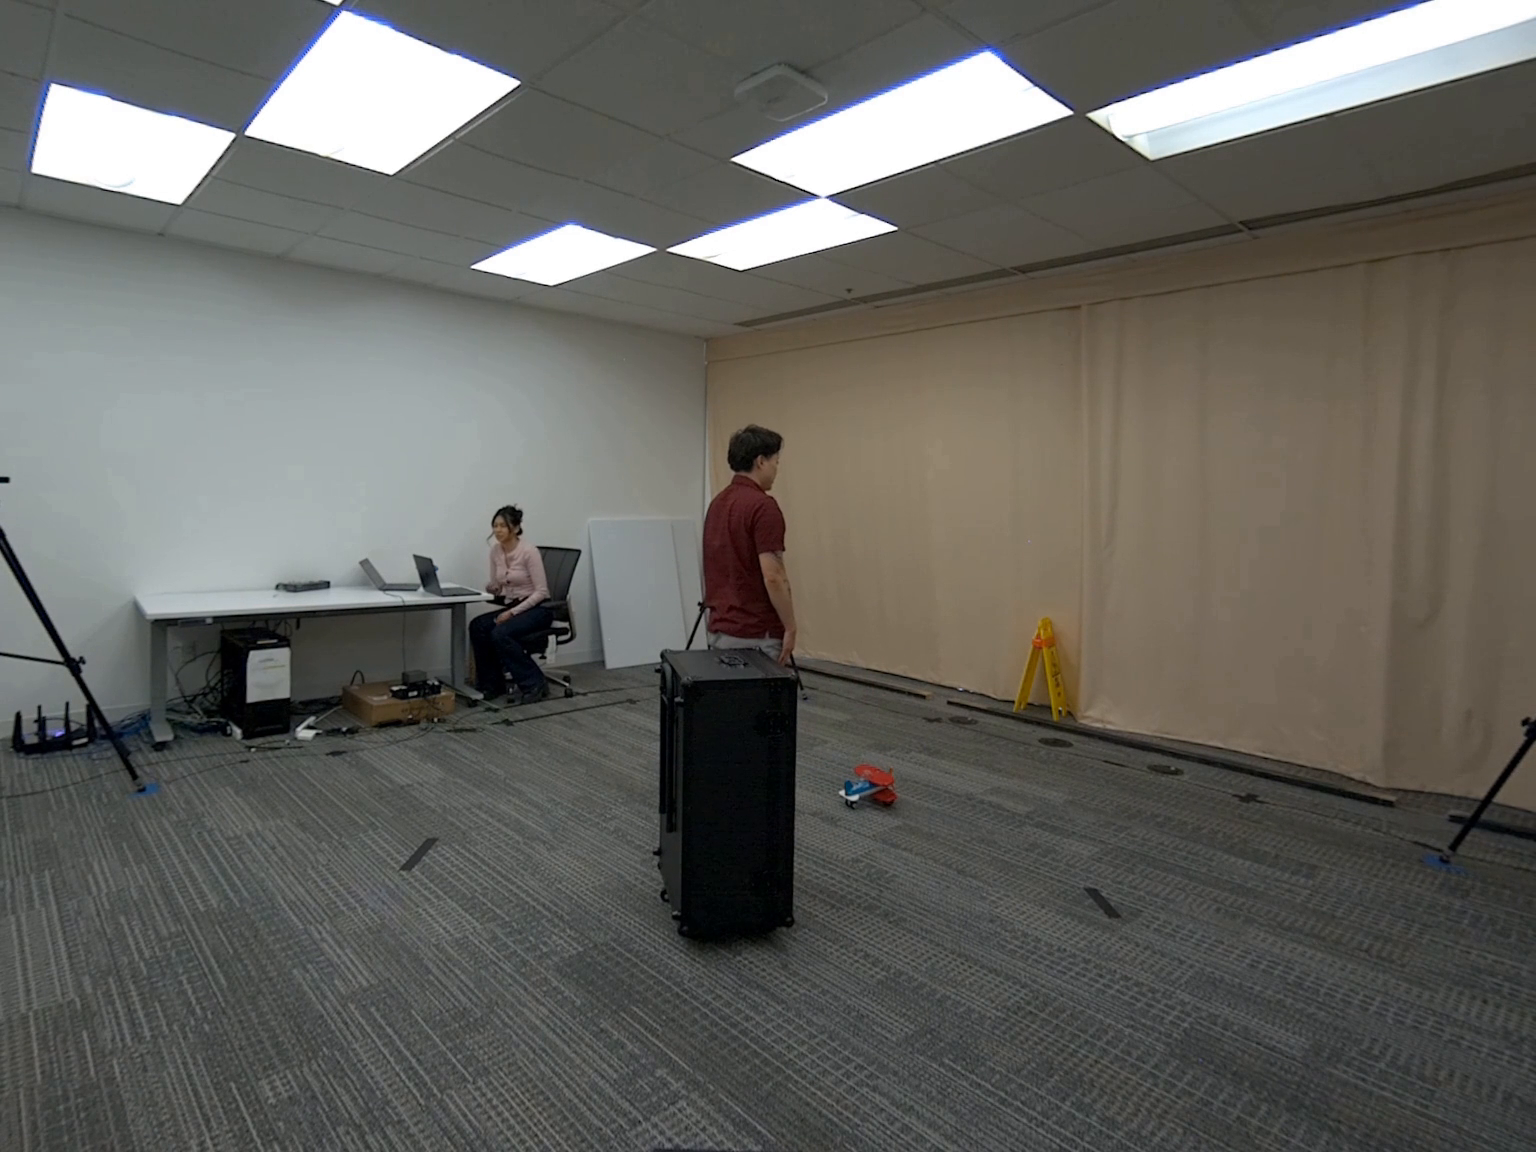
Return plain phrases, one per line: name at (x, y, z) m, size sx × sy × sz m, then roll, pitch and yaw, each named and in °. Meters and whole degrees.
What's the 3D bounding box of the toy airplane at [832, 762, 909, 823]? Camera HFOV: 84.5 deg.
toy airplane at (0.465, 0.980, 3.857) m, size 0.257 × 0.156 × 0.254 m, roll 4°, pitch 4°, yaw 34°
